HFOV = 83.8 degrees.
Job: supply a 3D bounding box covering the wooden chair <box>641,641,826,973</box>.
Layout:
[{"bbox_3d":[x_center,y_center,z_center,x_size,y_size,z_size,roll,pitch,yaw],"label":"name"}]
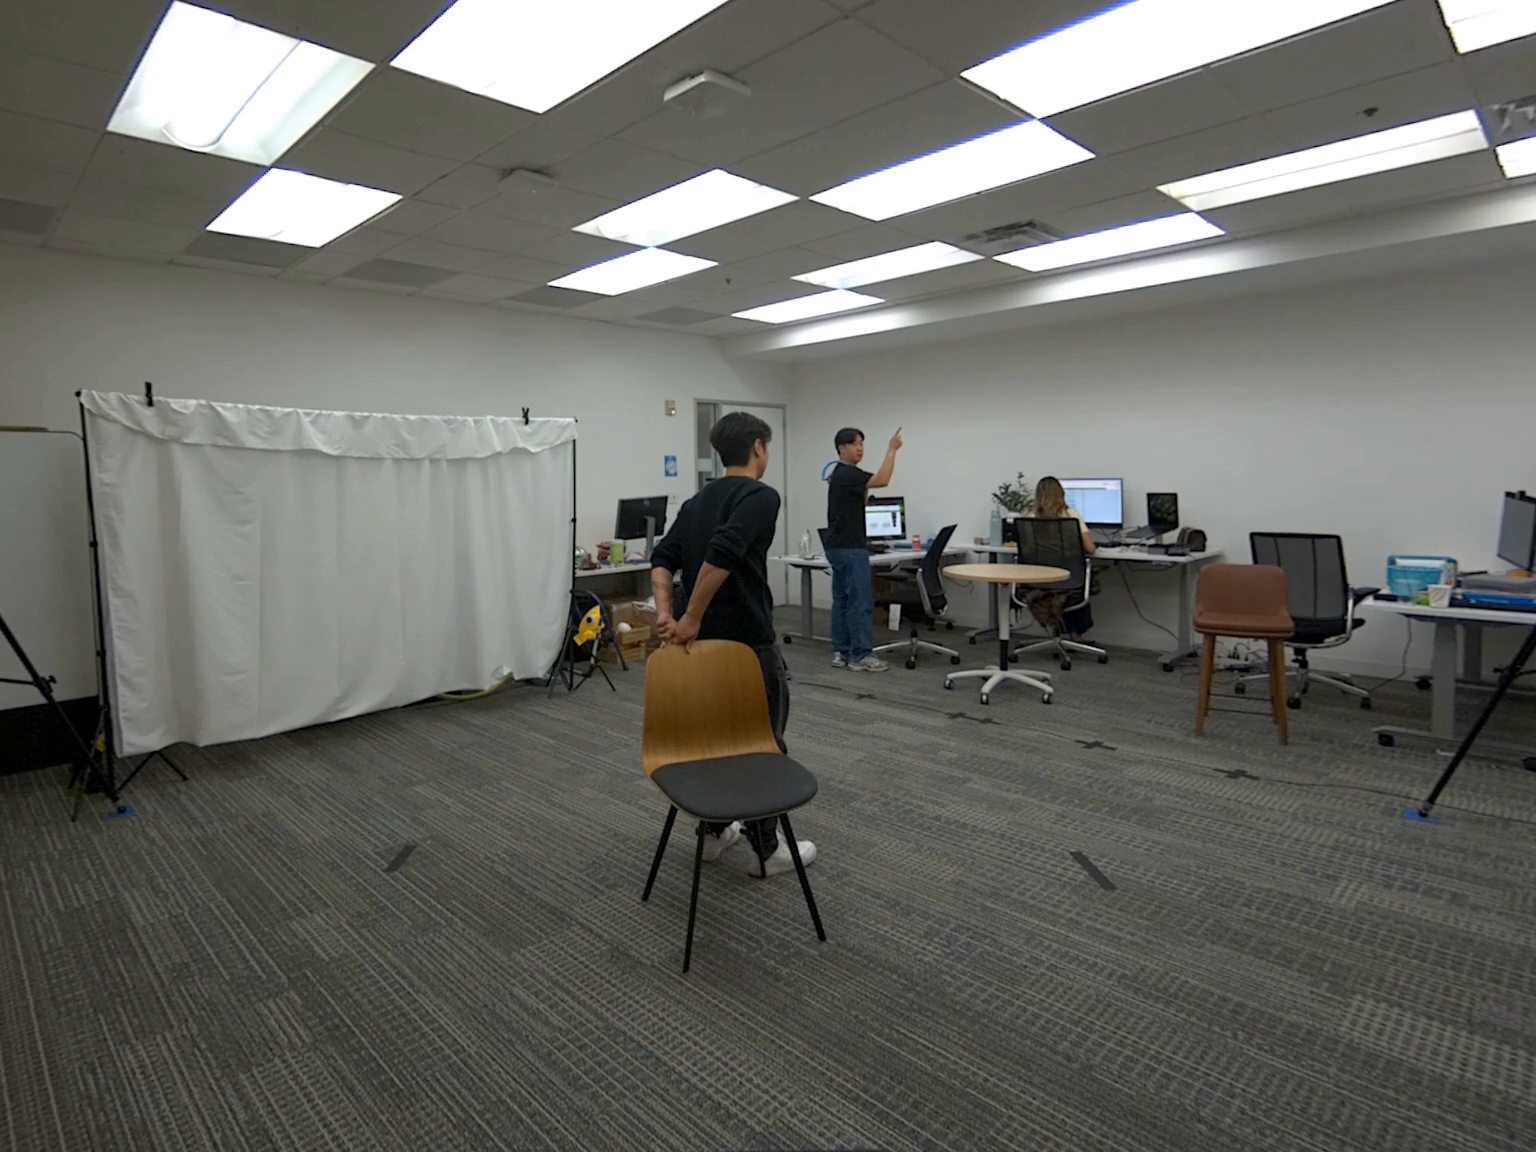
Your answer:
[{"bbox_3d":[-0.125,0.673,2.661,0.469,0.877,0.533,-2,0,-23],"label":"wooden chair"}]
